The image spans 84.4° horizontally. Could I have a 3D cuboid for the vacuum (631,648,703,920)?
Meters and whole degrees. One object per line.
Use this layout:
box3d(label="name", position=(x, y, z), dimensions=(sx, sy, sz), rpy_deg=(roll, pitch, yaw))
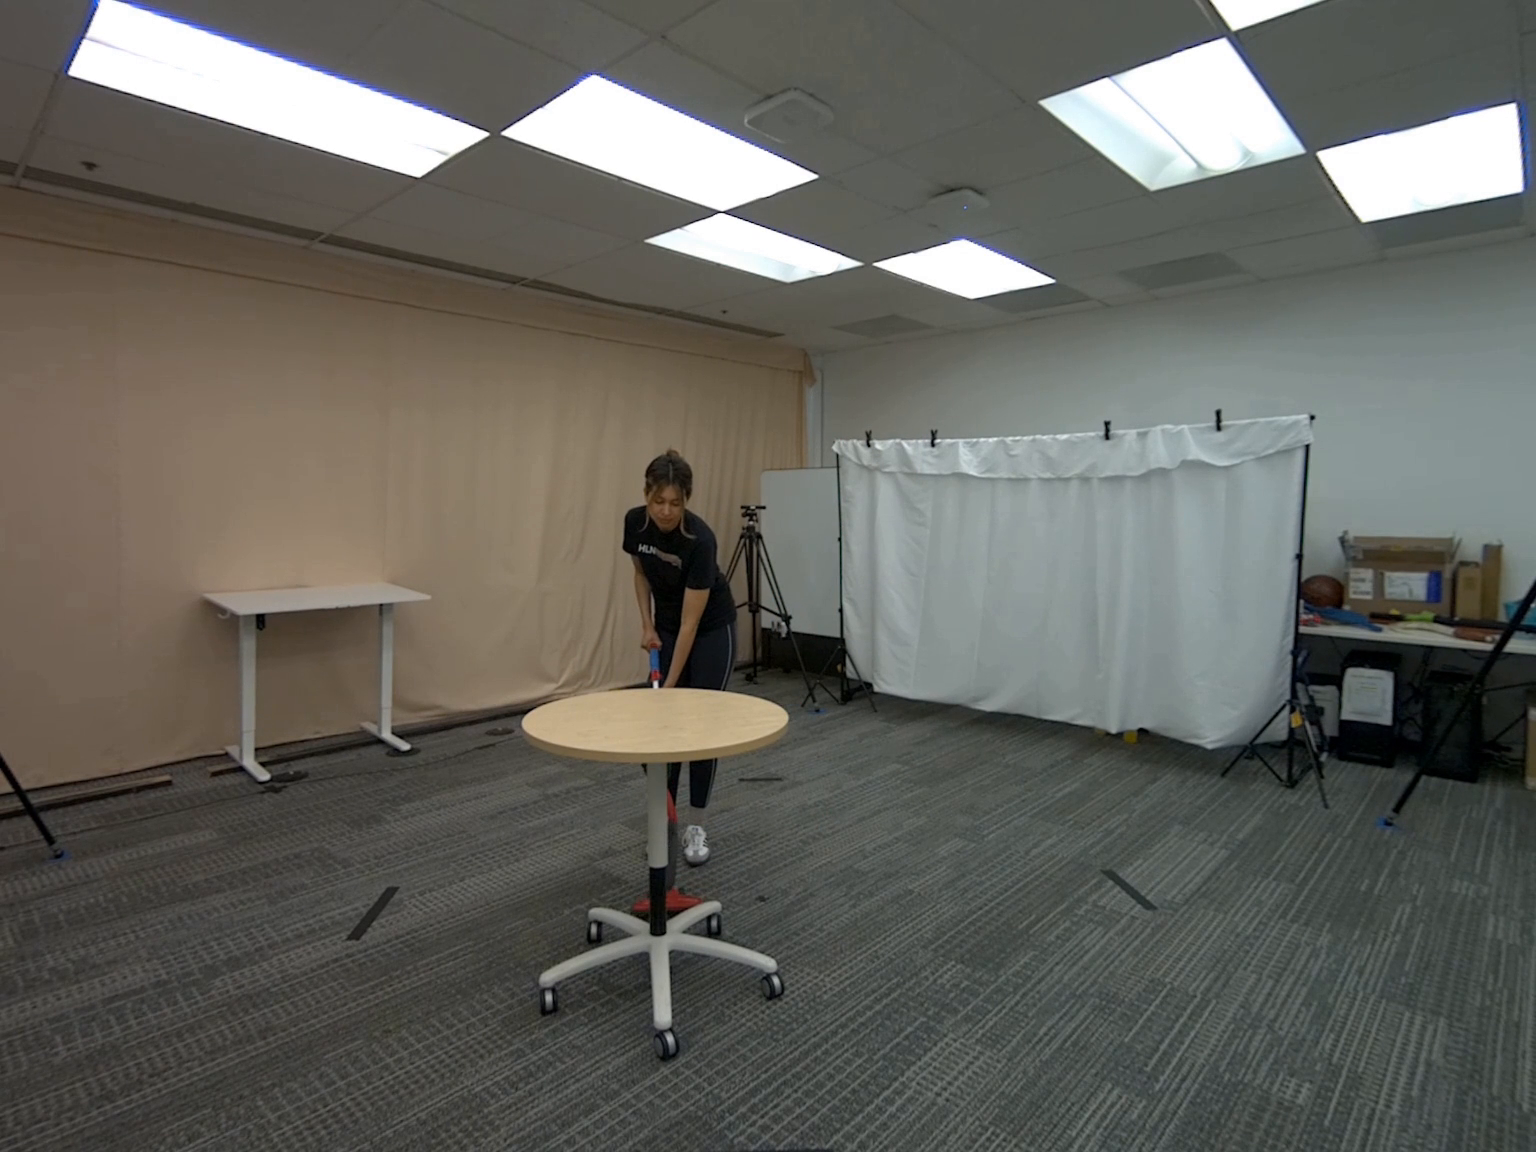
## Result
box3d(label="vacuum", position=(-0.401, 0.678, 3.172), dimensions=(0.251, 1.071, 0.142), rpy_deg=(-4, -34, -6))
